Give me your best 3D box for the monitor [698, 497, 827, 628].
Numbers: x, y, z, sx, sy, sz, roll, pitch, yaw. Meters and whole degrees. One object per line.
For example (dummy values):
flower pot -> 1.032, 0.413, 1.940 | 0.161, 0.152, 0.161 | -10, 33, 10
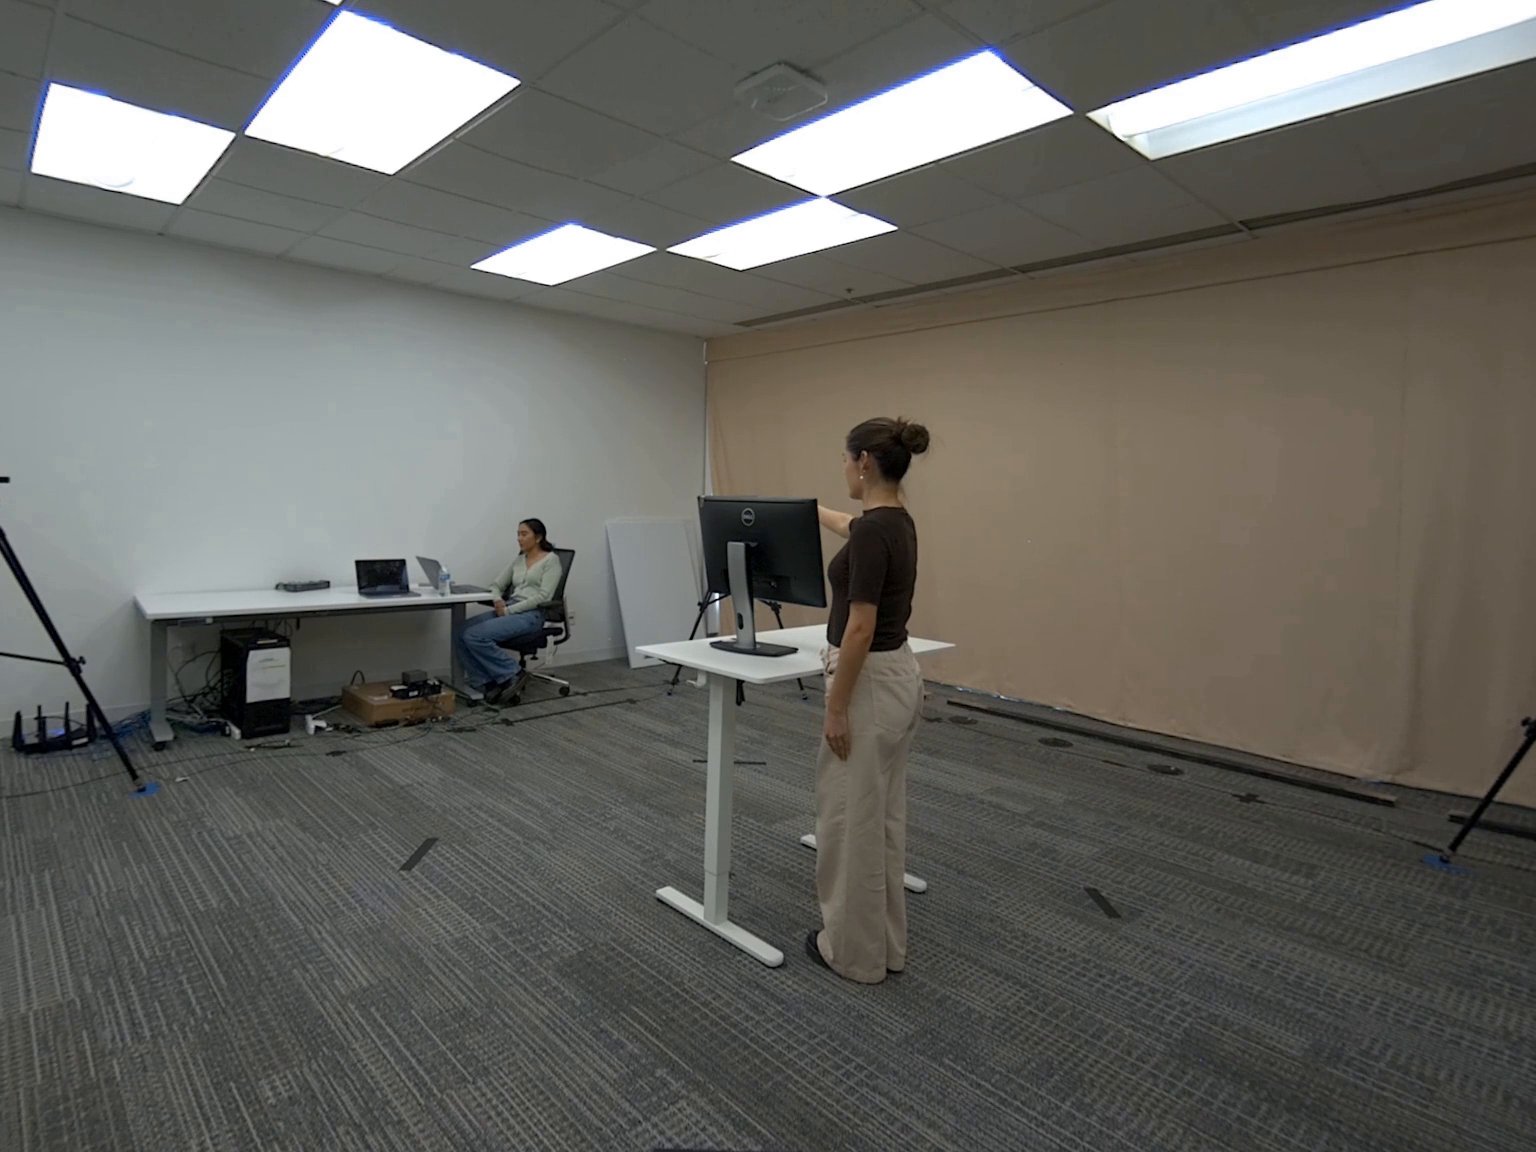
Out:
monitor -> -0.054, 0.000, 2.802 | 0.553, 0.521, 0.183 | 6, 4, 44
